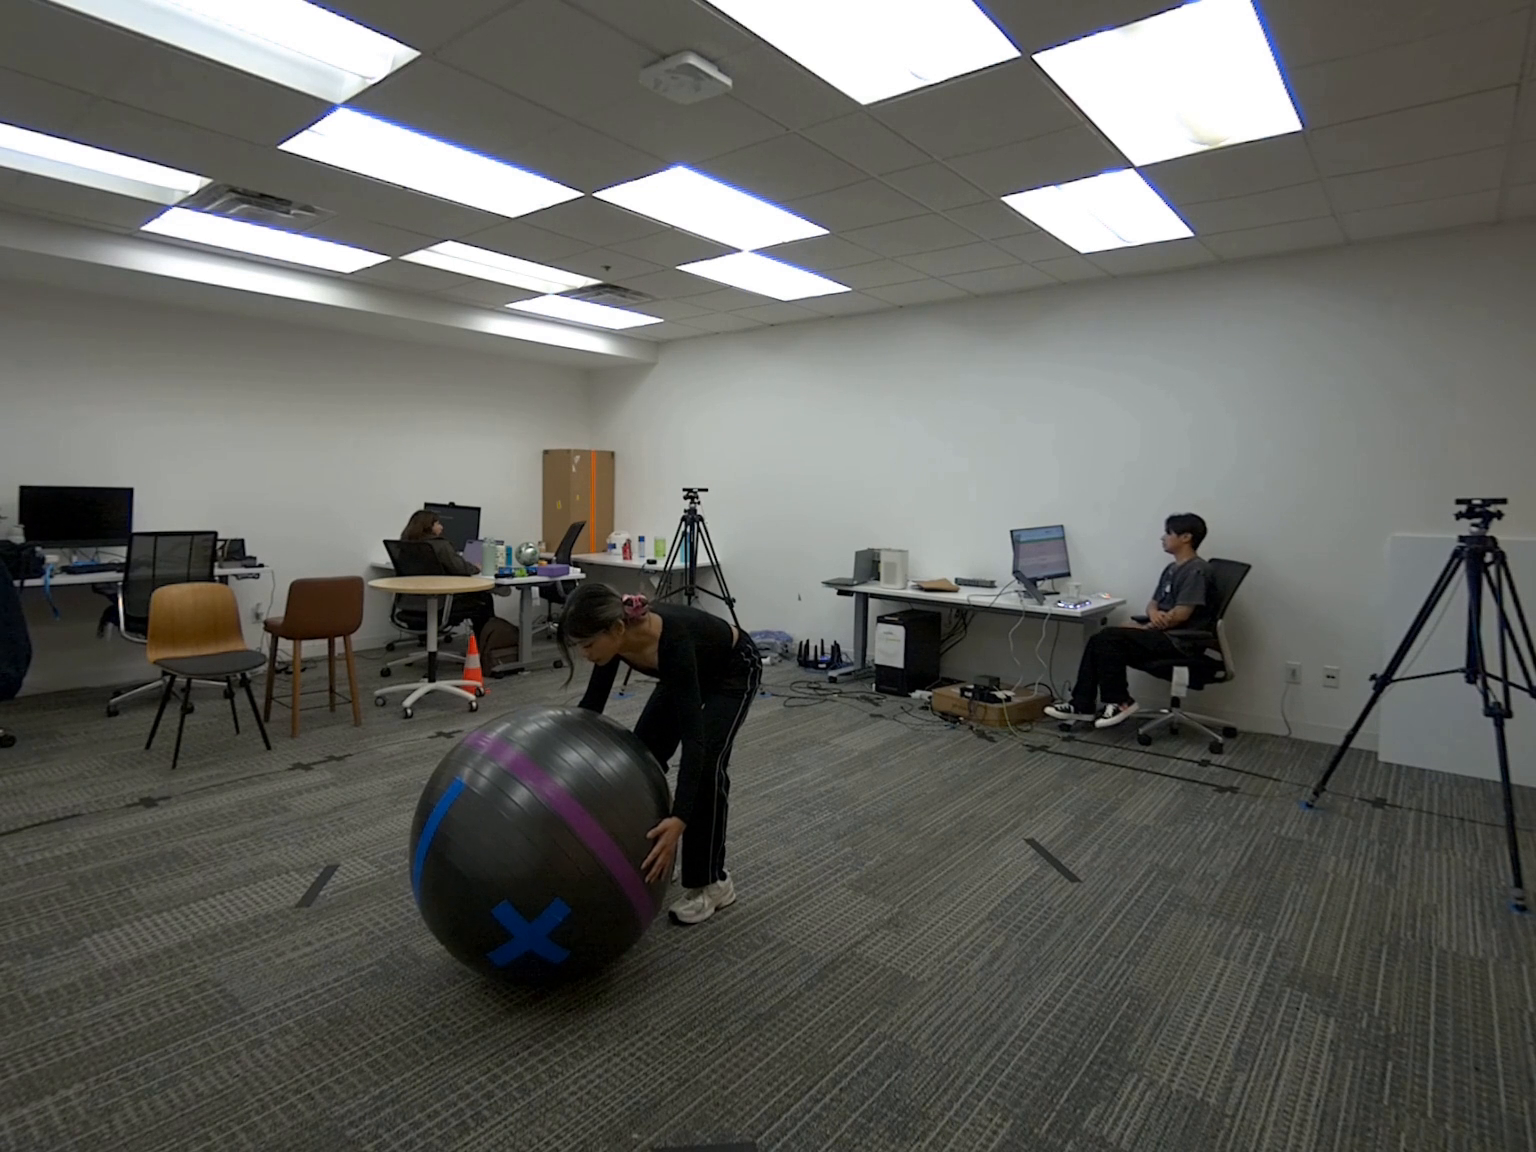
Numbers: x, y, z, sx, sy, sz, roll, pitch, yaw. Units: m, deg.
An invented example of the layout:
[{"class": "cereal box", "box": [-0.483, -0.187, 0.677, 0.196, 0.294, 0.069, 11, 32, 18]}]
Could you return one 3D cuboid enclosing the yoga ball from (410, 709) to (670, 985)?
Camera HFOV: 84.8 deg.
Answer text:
[{"class": "yoga ball", "box": [-0.656, 0.763, 2.446, 0.757, 0.755, 0.762, 1, 4, -2]}]
